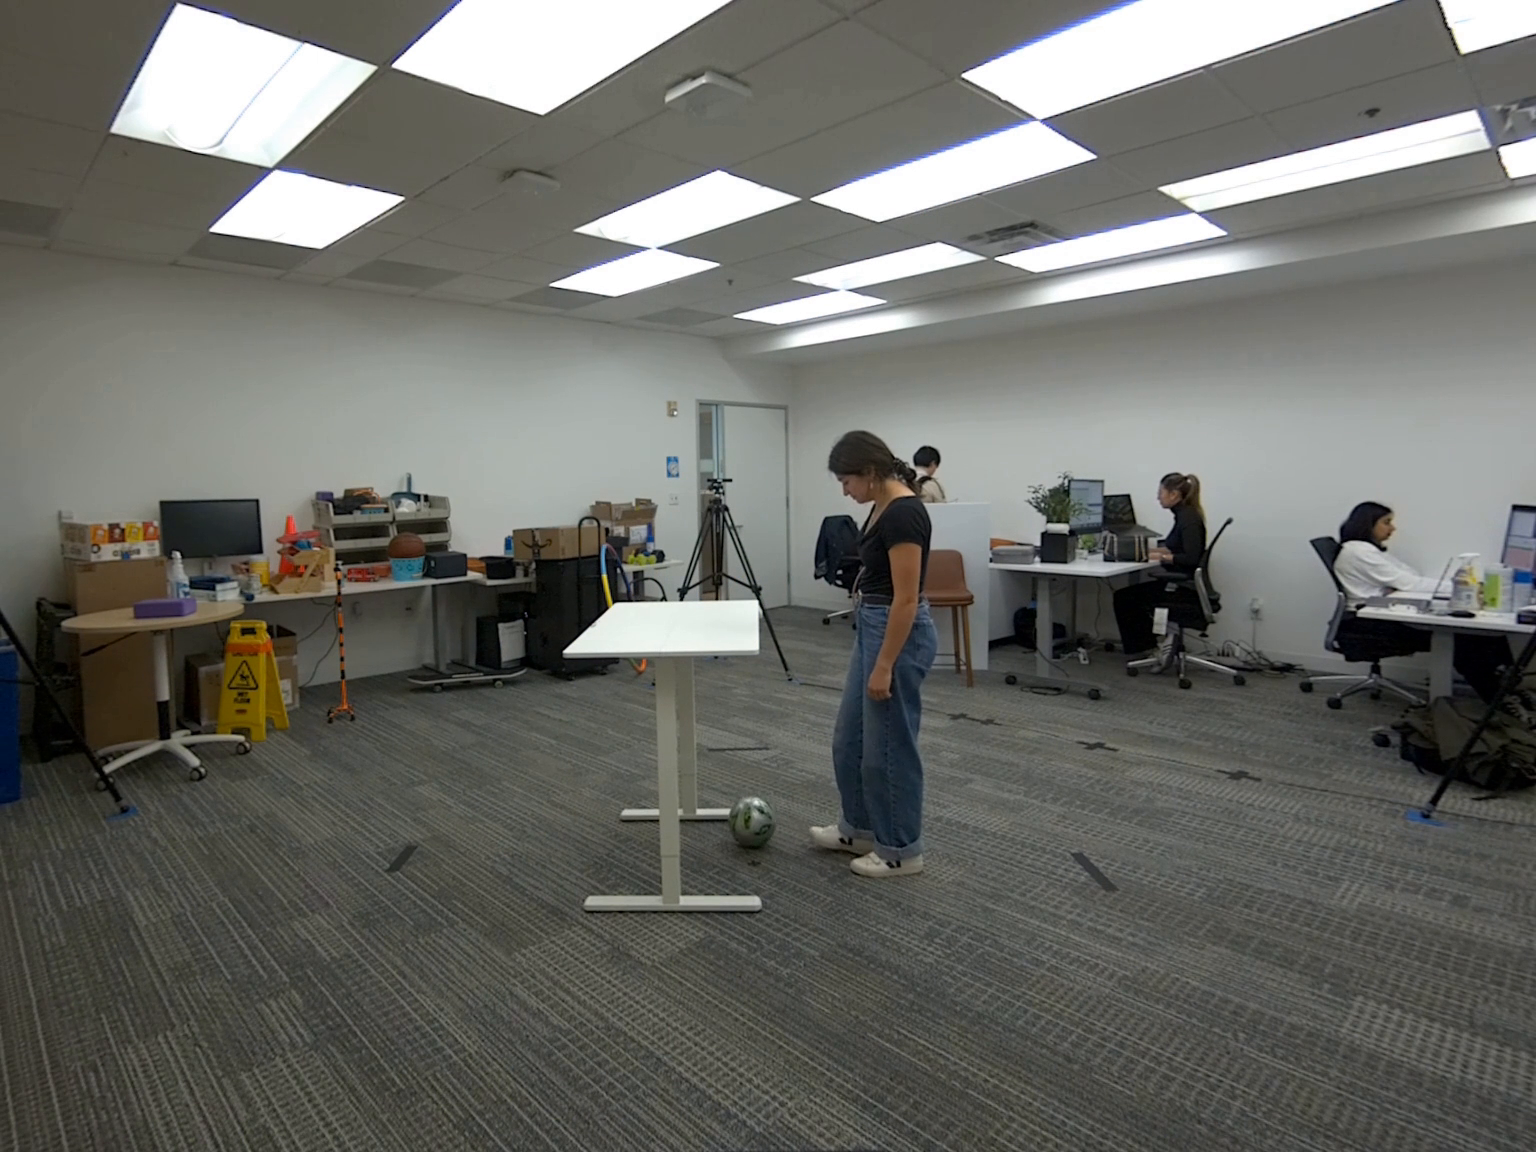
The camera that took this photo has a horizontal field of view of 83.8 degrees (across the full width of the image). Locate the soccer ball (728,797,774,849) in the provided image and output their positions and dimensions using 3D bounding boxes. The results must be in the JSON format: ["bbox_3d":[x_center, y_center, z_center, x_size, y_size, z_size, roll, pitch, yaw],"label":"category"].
[{"bbox_3d":[-0.057,0.937,3.274,0.187,0.187,0.188,-1,5,-2],"label":"soccer ball"}]
